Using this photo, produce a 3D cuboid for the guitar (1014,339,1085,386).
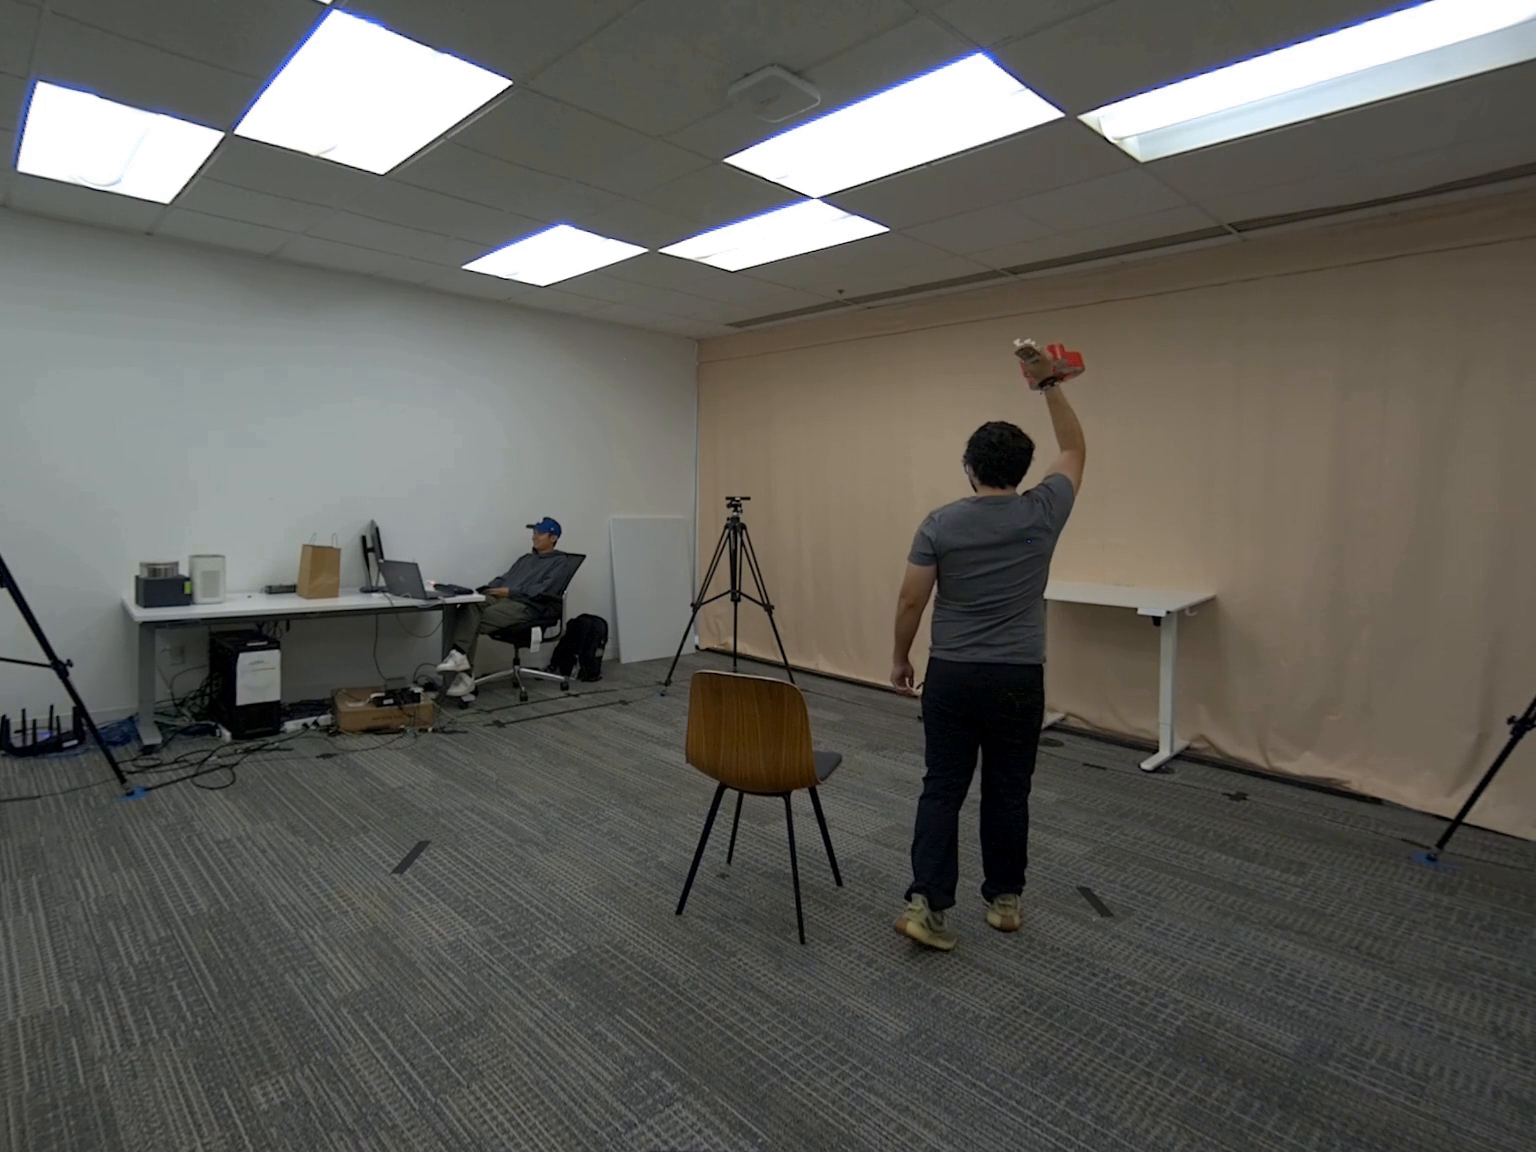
[{"bbox_3d":[0.937,-0.731,2.806,0.195,0.071,0.487,-16,-10,22],"label":"guitar"}]
